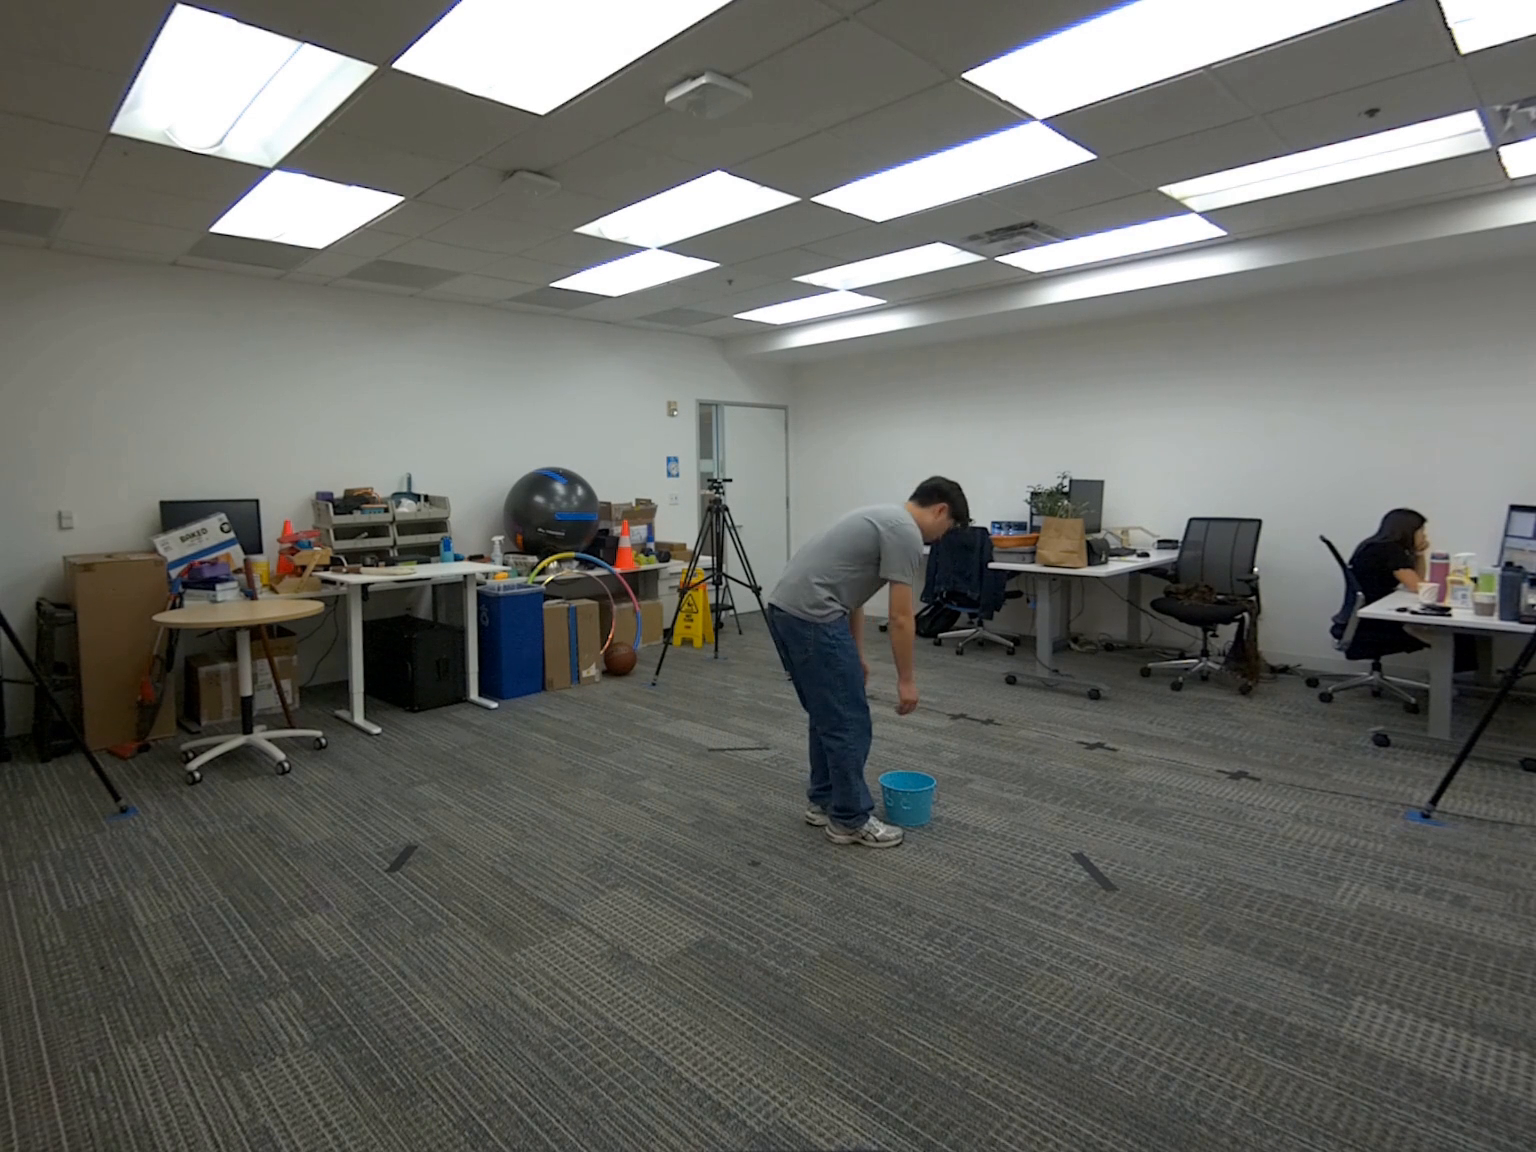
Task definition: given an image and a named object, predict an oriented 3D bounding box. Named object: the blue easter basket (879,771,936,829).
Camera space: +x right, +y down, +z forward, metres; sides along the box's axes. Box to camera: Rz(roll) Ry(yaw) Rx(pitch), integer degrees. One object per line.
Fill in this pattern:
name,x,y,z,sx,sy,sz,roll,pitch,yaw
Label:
blue easter basket,0.570,0.906,3.504,0.243,0.155,0.245,-1,5,-2
